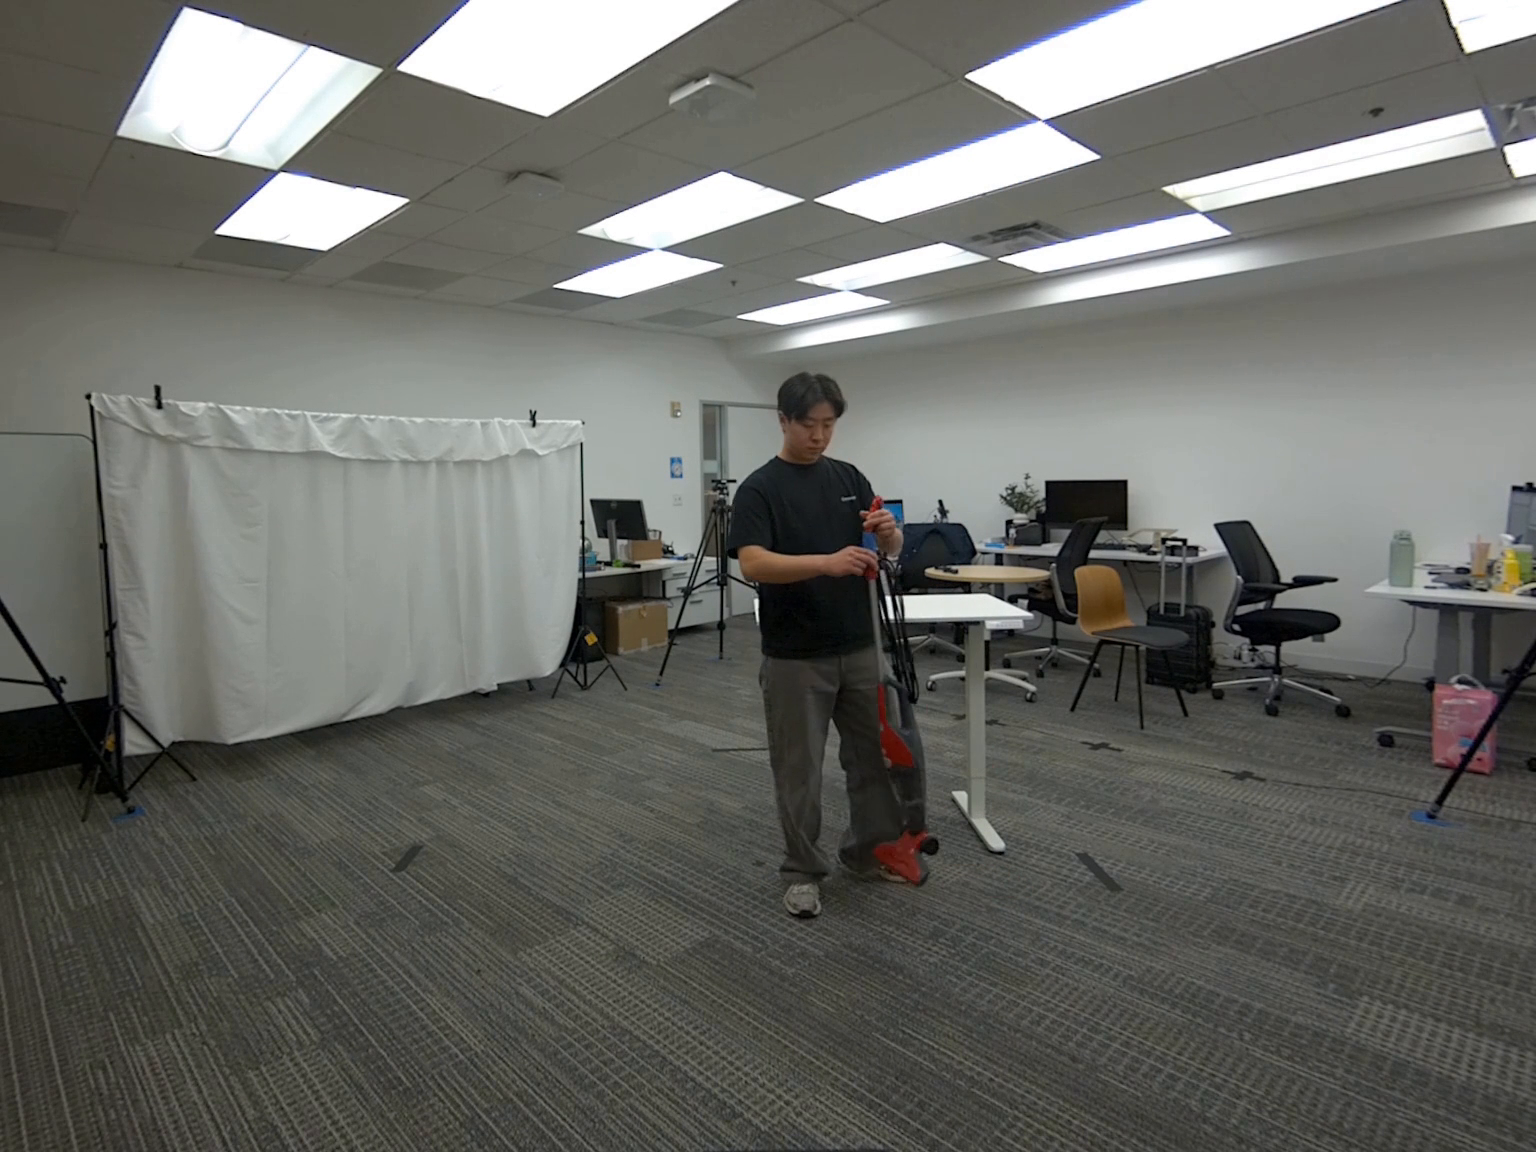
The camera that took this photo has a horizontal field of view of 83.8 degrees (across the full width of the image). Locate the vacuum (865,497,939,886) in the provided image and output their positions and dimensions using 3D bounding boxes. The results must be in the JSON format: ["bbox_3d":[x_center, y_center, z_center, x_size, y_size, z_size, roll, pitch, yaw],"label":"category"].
[{"bbox_3d":[0.381,0.316,2.499,0.141,1.048,0.257,-5,1,-22],"label":"vacuum"}]
